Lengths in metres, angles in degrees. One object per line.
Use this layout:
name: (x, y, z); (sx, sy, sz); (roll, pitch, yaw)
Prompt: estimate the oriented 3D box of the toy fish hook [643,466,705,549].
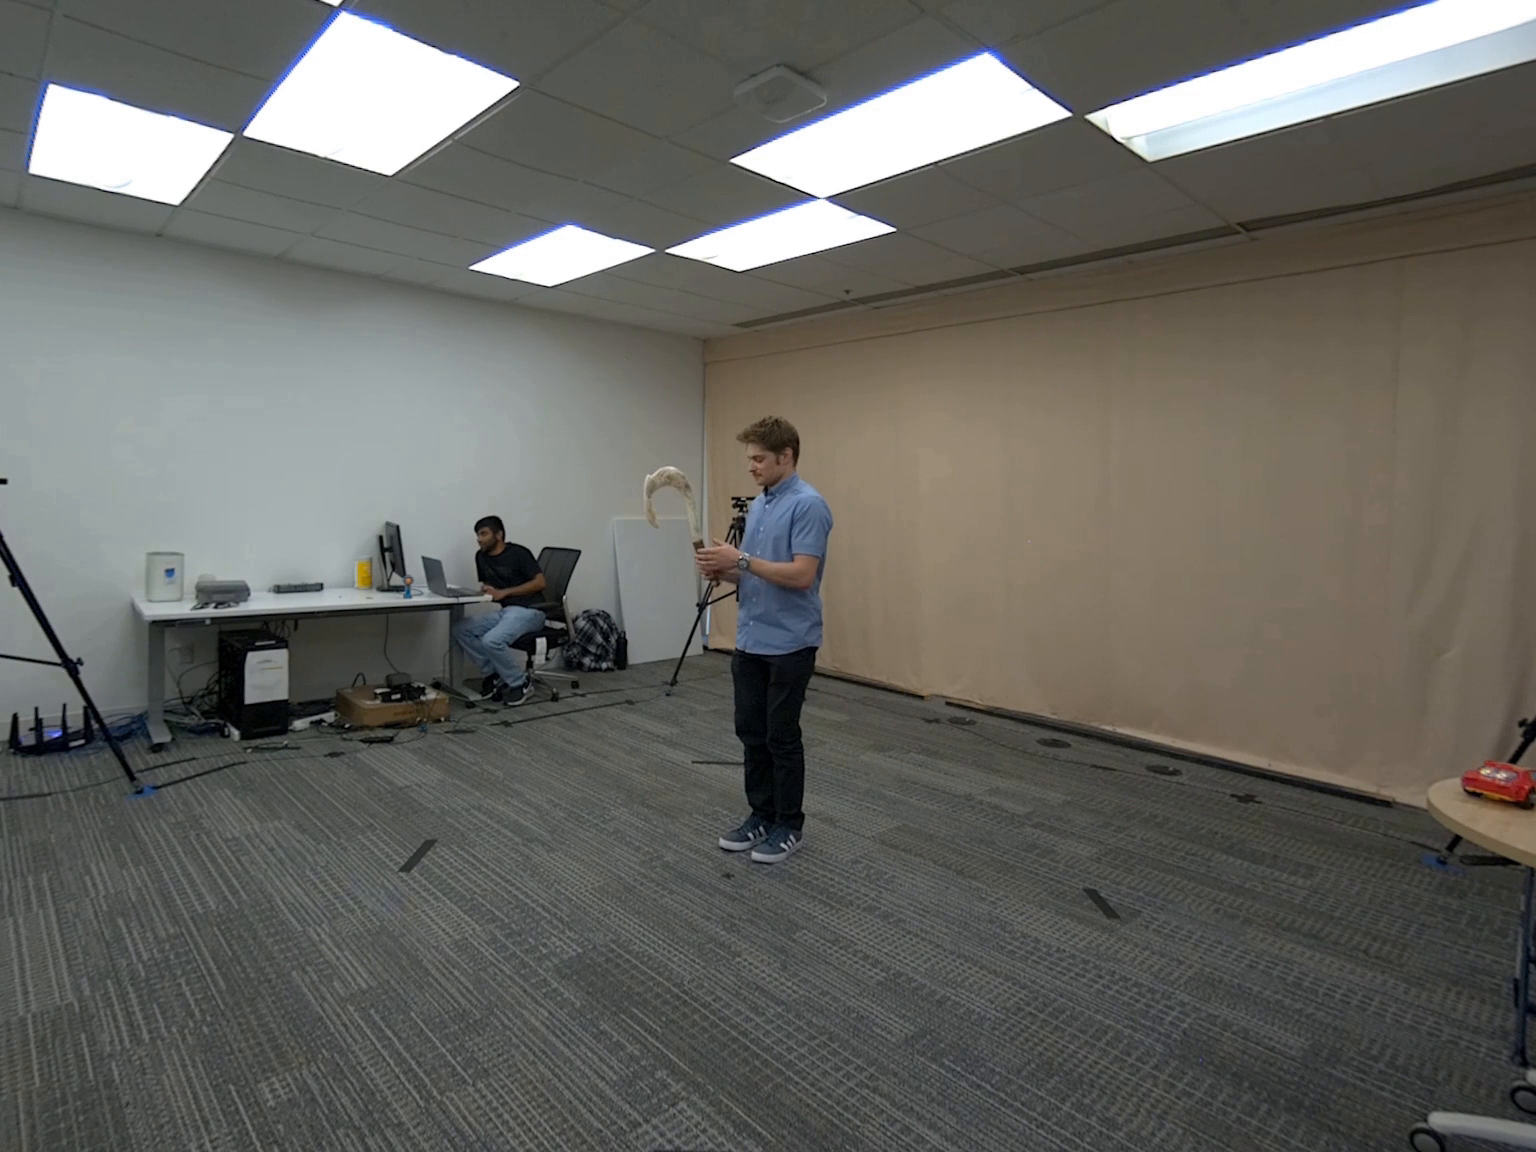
toy fish hook: (-0.334, -0.162, 3.181); (0.223, 0.500, 0.049); (-29, 14, -27)
